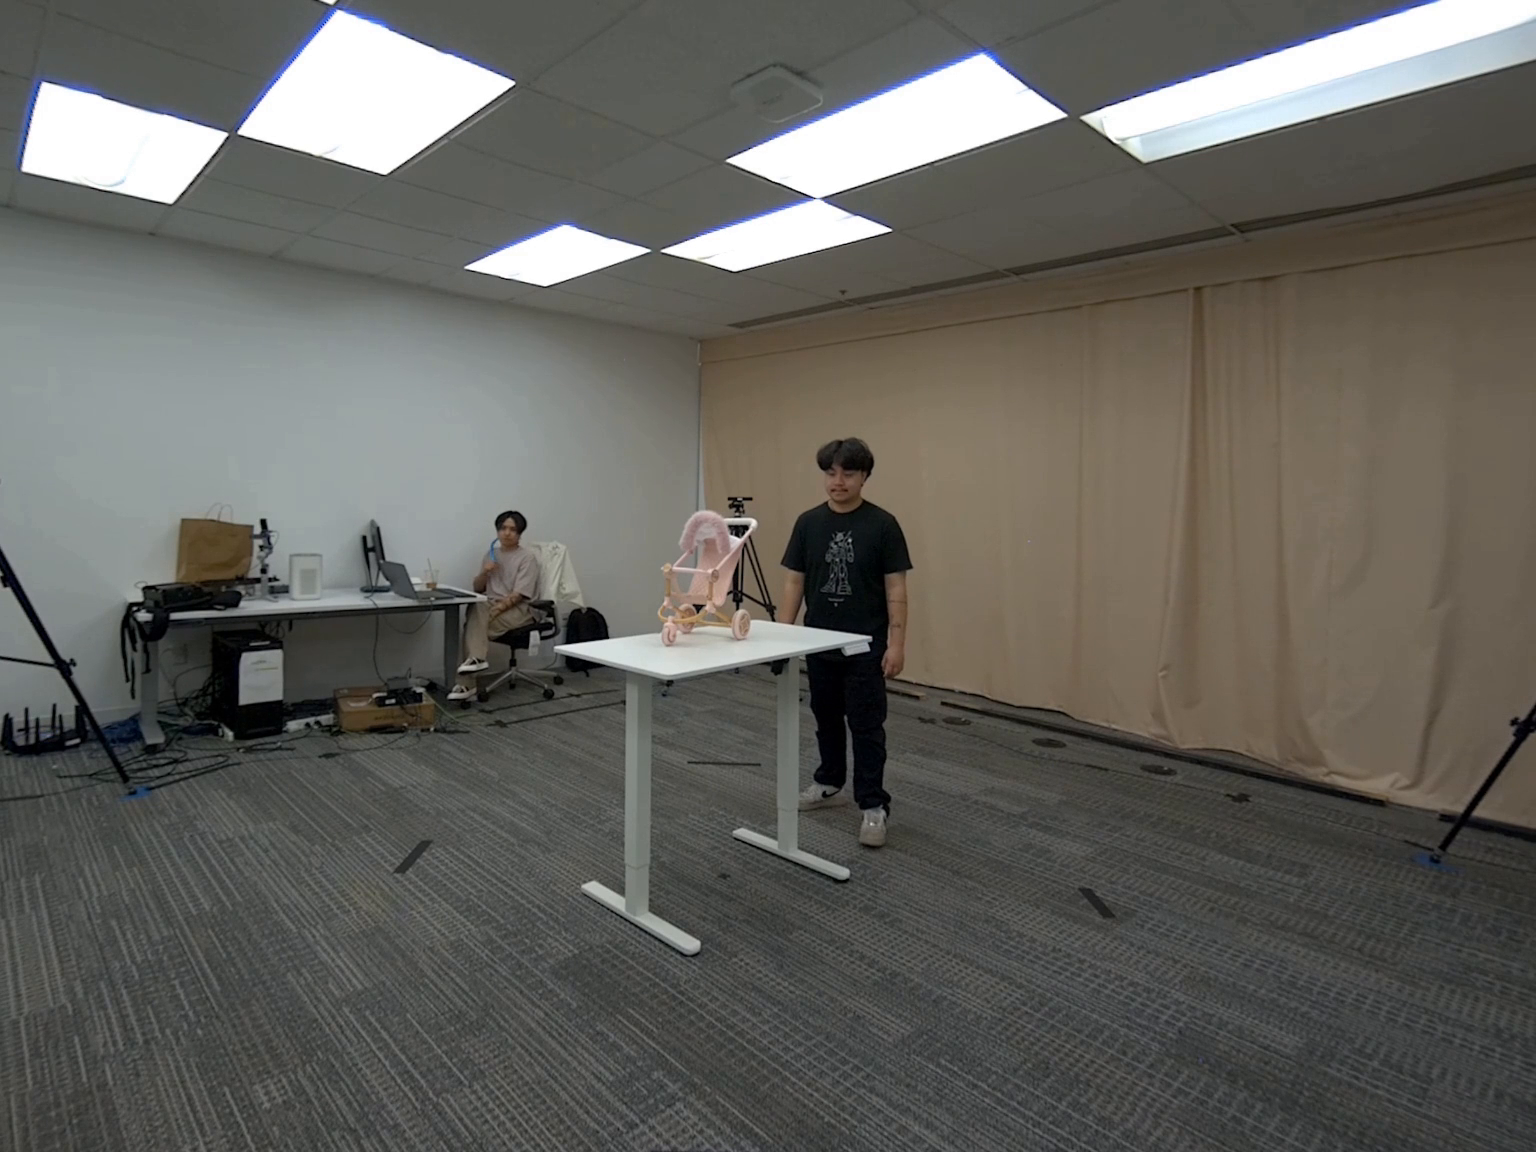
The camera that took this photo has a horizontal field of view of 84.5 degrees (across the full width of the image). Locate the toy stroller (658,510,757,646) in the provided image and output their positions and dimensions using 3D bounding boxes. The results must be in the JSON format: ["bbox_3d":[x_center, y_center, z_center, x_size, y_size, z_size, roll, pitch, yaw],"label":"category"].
[{"bbox_3d":[-0.243,0.006,3.041,0.288,0.538,0.331,3,-11,37],"label":"toy stroller"}]
